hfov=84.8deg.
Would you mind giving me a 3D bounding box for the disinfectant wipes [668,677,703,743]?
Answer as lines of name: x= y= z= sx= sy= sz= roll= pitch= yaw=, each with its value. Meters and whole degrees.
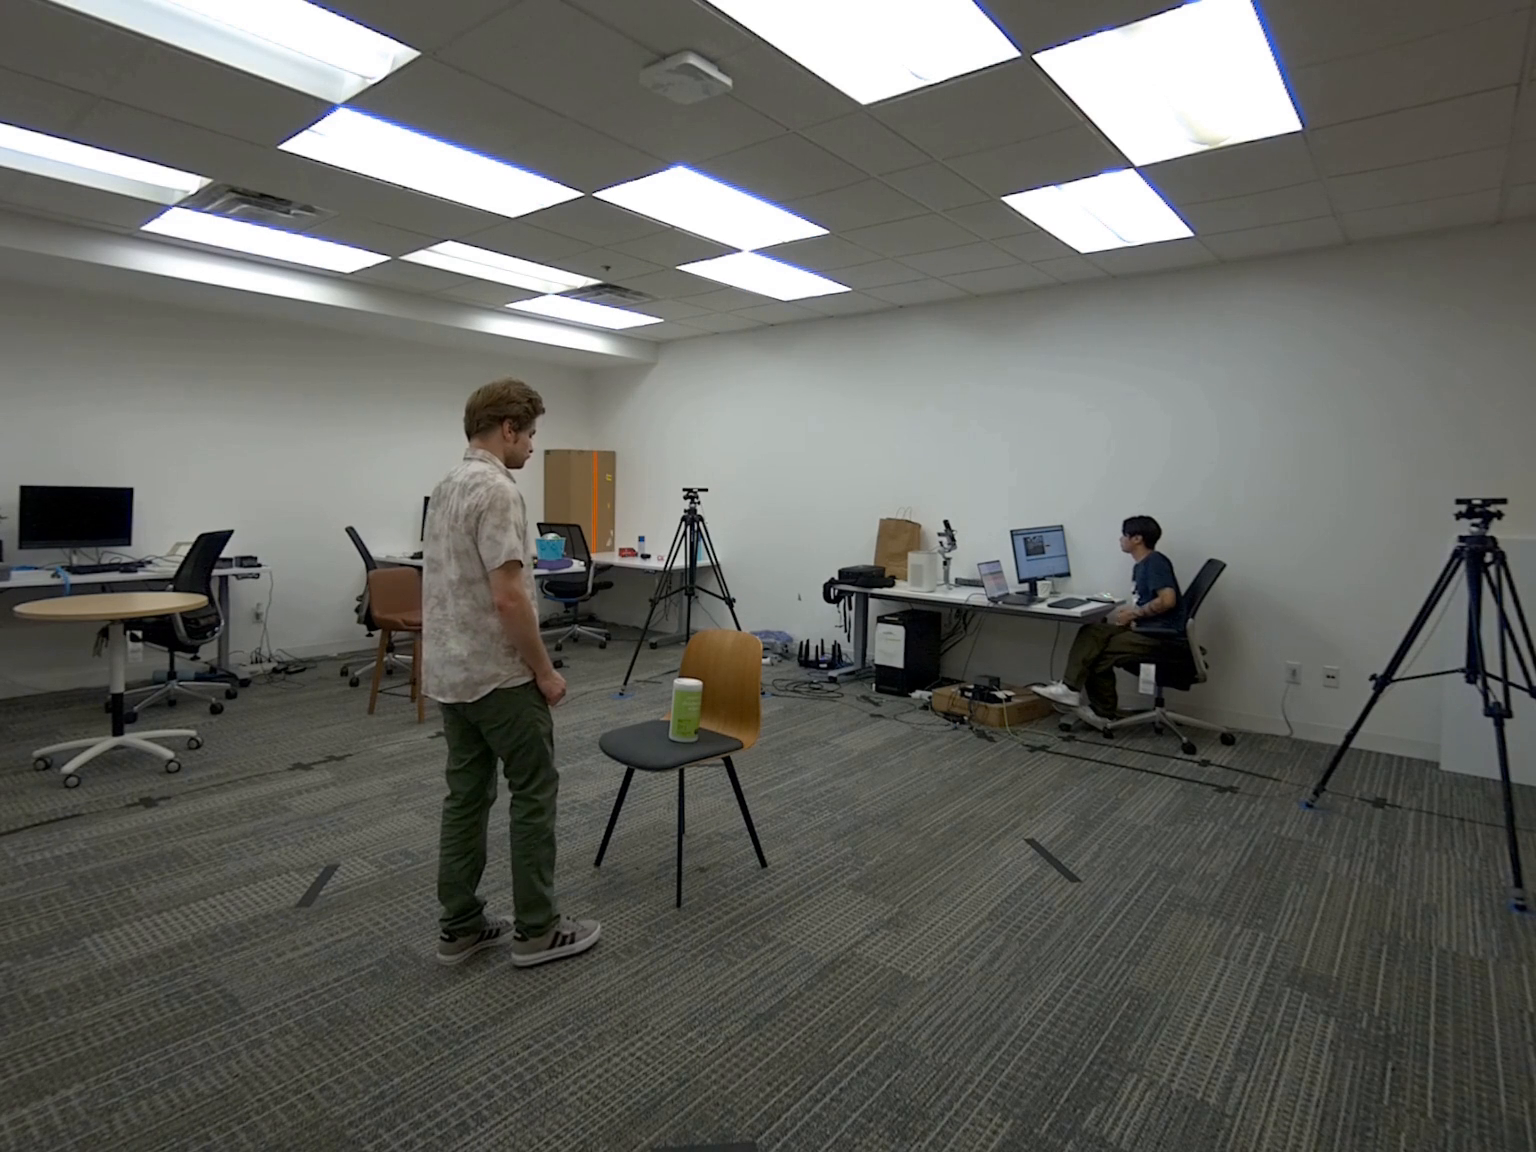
disinfectant wipes: x=-0.315 y=0.489 z=3.125 sx=0.117 sy=0.217 sz=0.118 roll=5 pitch=3 yaw=-2
